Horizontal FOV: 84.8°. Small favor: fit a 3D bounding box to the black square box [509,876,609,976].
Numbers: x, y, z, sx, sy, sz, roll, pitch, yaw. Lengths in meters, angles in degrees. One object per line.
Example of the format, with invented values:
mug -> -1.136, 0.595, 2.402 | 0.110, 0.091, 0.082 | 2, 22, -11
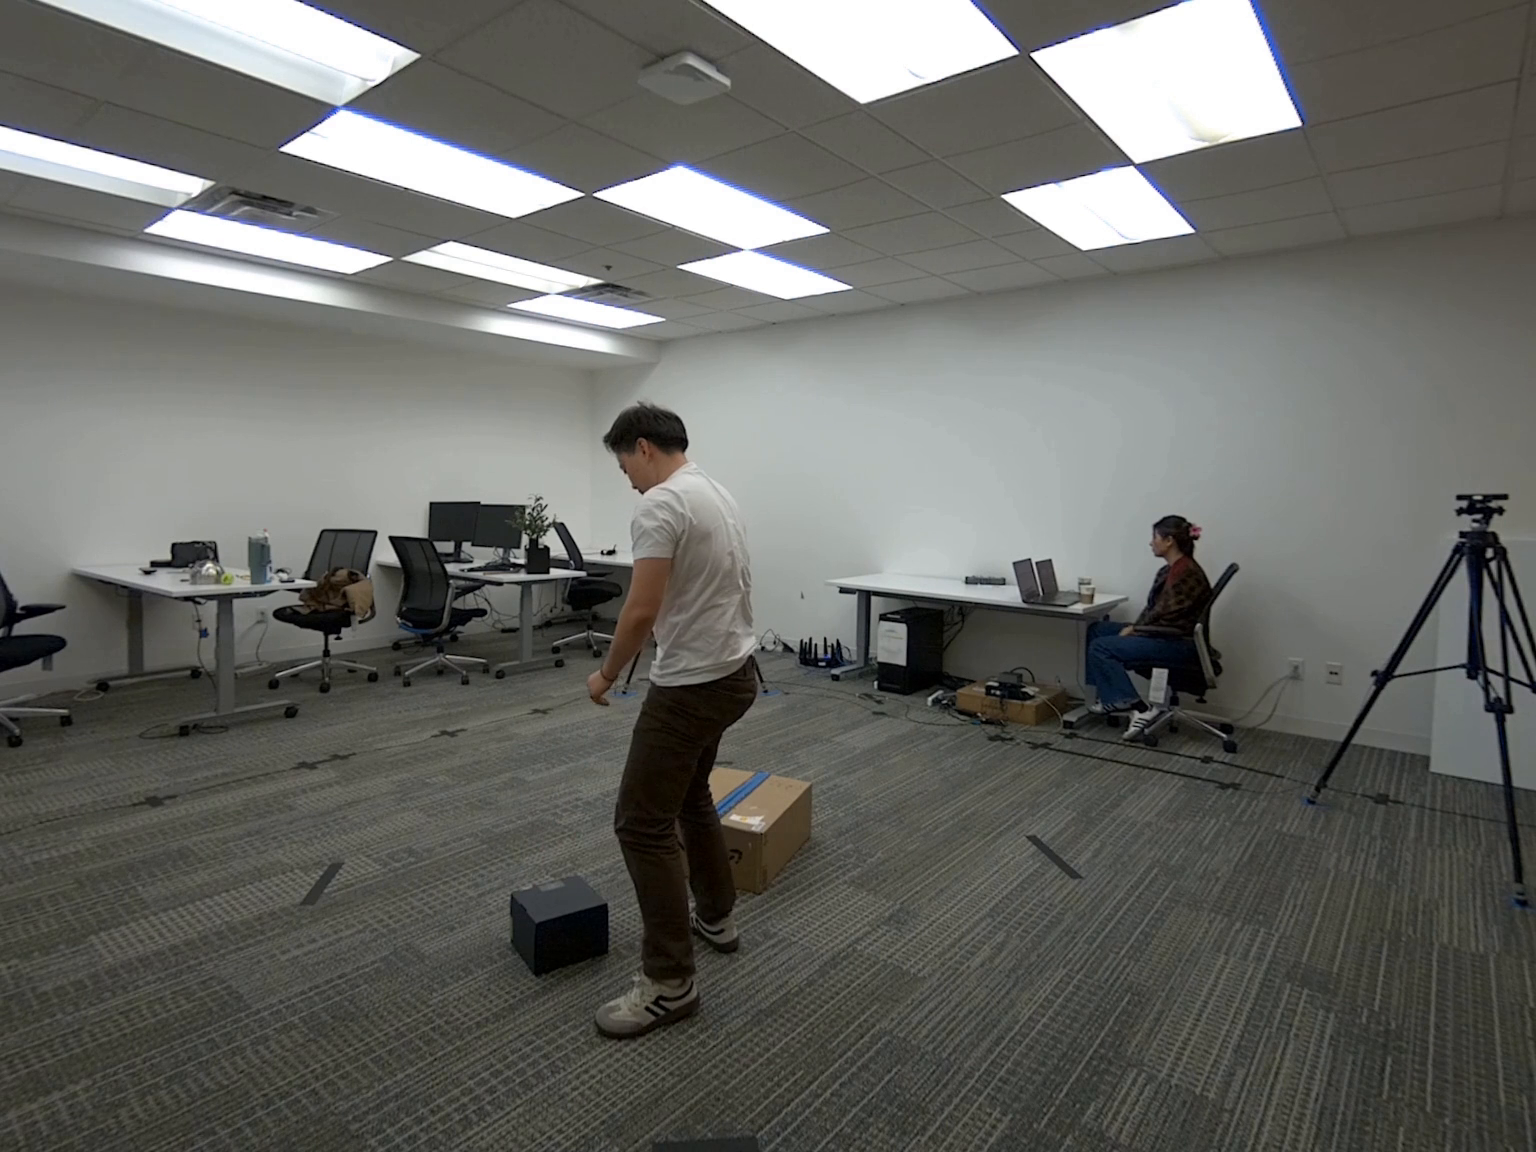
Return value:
black square box -> -0.640, 1.034, 2.548 | 0.221, 0.155, 0.224 | -3, 6, -34
